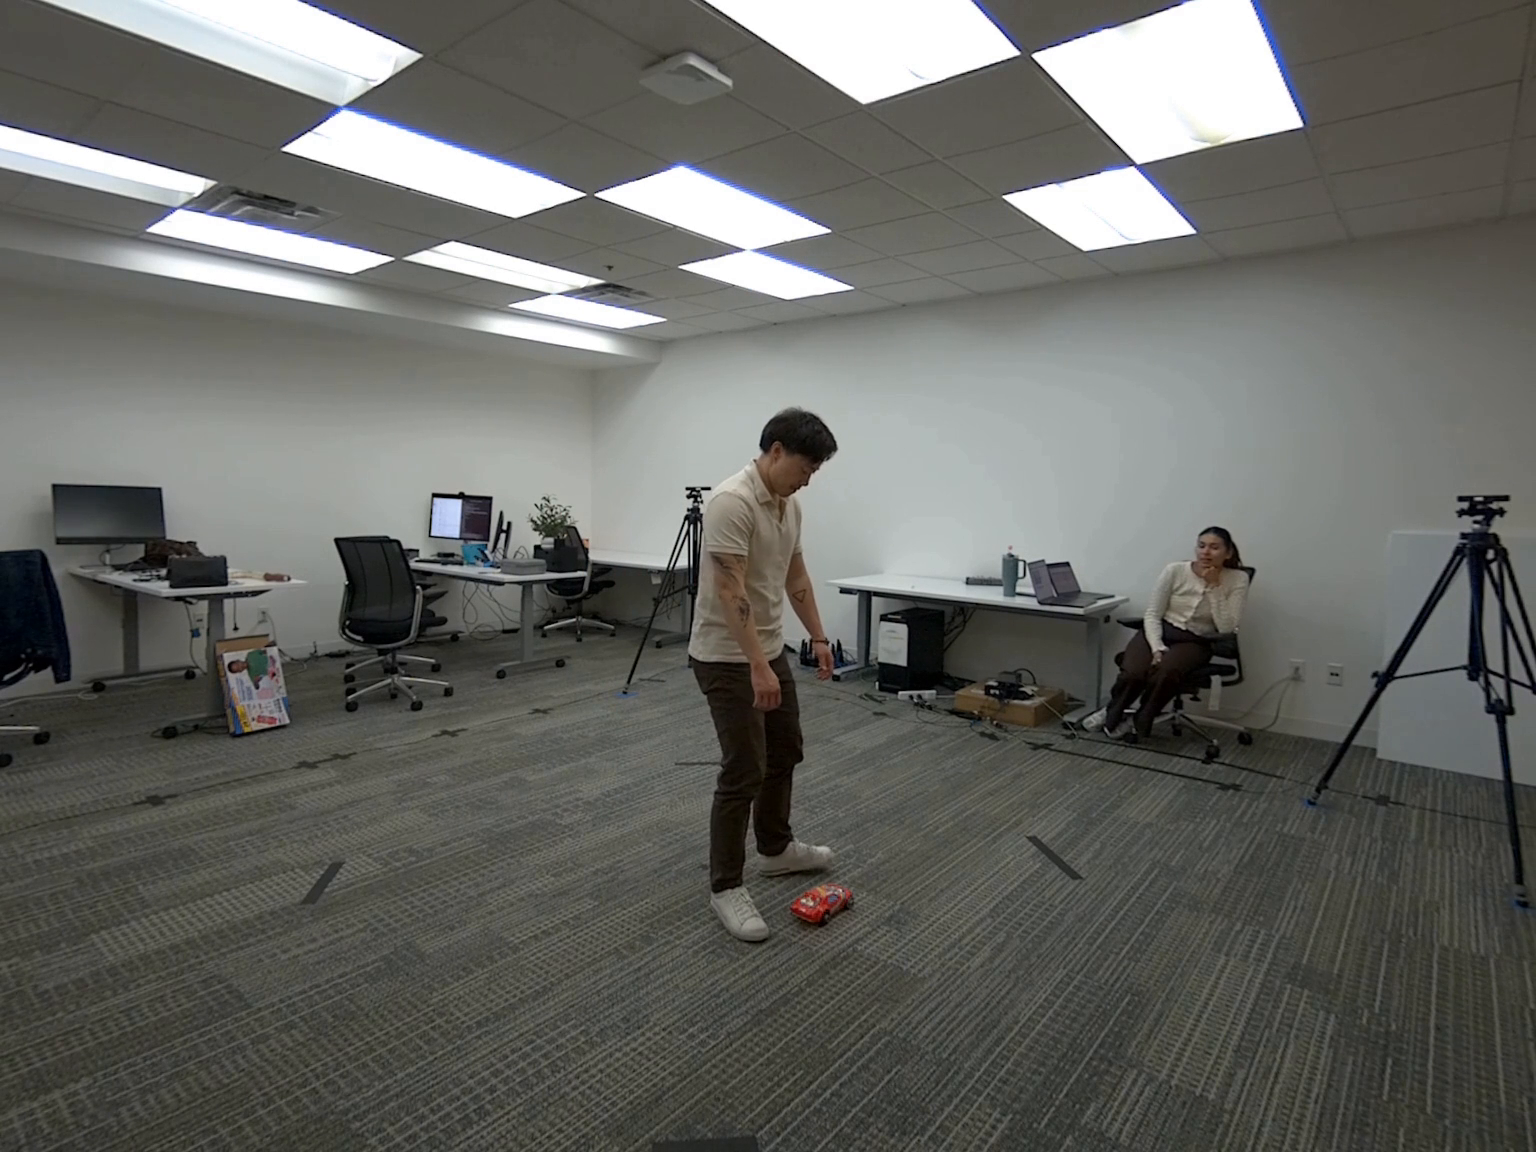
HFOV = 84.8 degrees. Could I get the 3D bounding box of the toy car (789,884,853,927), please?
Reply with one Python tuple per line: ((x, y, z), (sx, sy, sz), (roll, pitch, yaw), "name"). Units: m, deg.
((0.167, 1.073, 2.790), (0.135, 0.083, 0.245), (6, -4, 39), "toy car")
